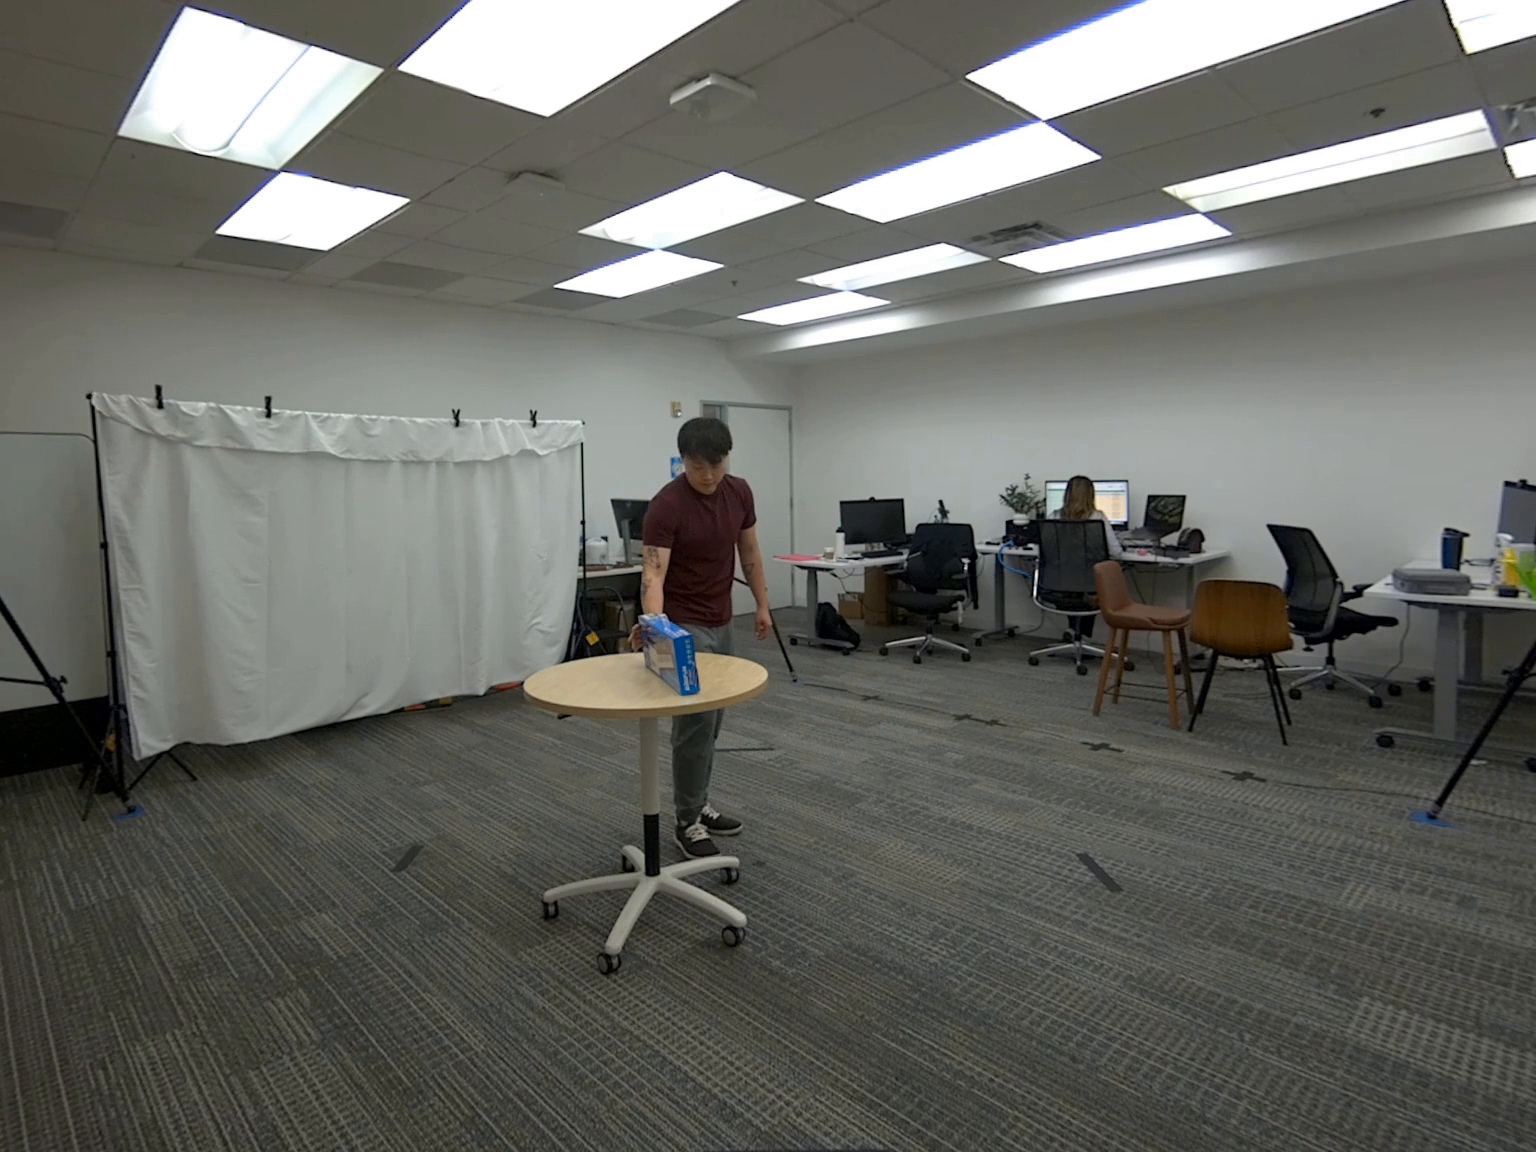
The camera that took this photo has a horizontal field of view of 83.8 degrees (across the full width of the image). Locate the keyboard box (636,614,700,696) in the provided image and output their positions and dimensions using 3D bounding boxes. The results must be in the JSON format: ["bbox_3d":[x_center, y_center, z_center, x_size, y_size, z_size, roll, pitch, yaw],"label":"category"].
[{"bbox_3d":[-0.315,0.238,2.652,0.058,0.174,0.446,-11,9,-19],"label":"keyboard box"}]
